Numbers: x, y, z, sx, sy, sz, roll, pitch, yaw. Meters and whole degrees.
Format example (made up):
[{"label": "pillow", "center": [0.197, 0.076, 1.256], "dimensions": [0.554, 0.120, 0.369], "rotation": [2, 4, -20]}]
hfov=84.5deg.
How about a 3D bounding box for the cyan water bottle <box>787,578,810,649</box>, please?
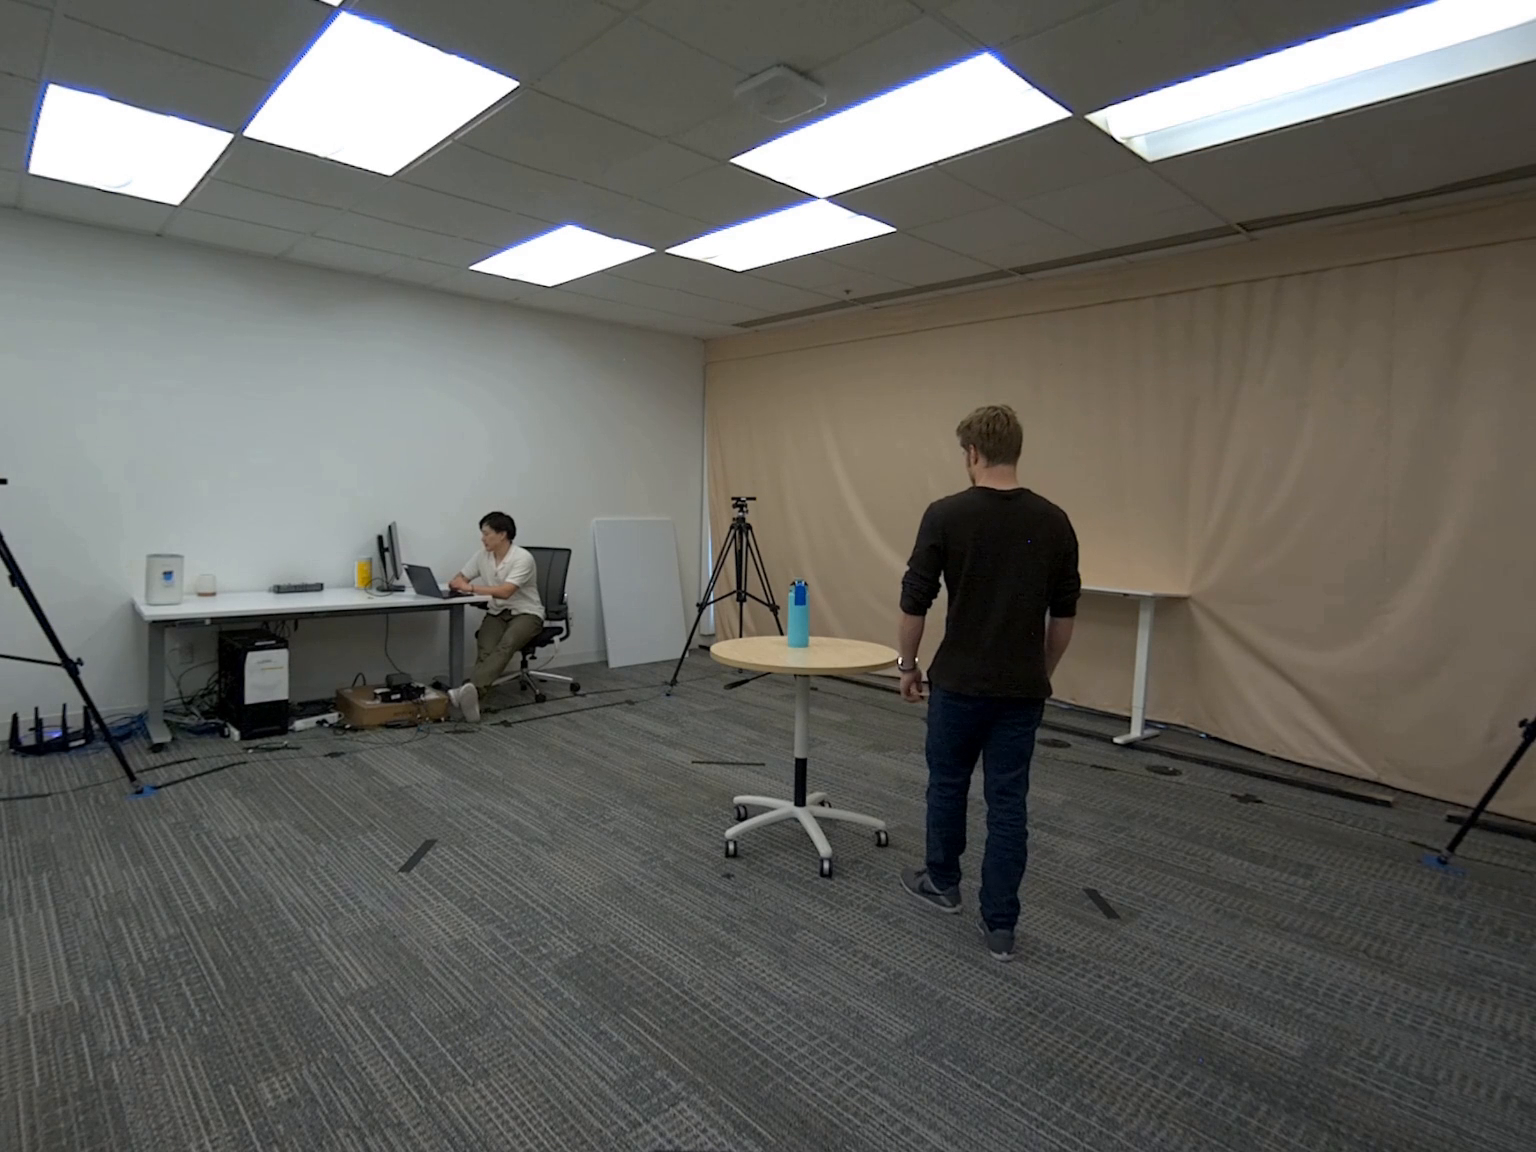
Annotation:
[{"label": "cyan water bottle", "center": [0.124, 0.154, 3.540], "dimensions": [0.092, 0.282, 0.092], "rotation": [3, 4, -2]}]
